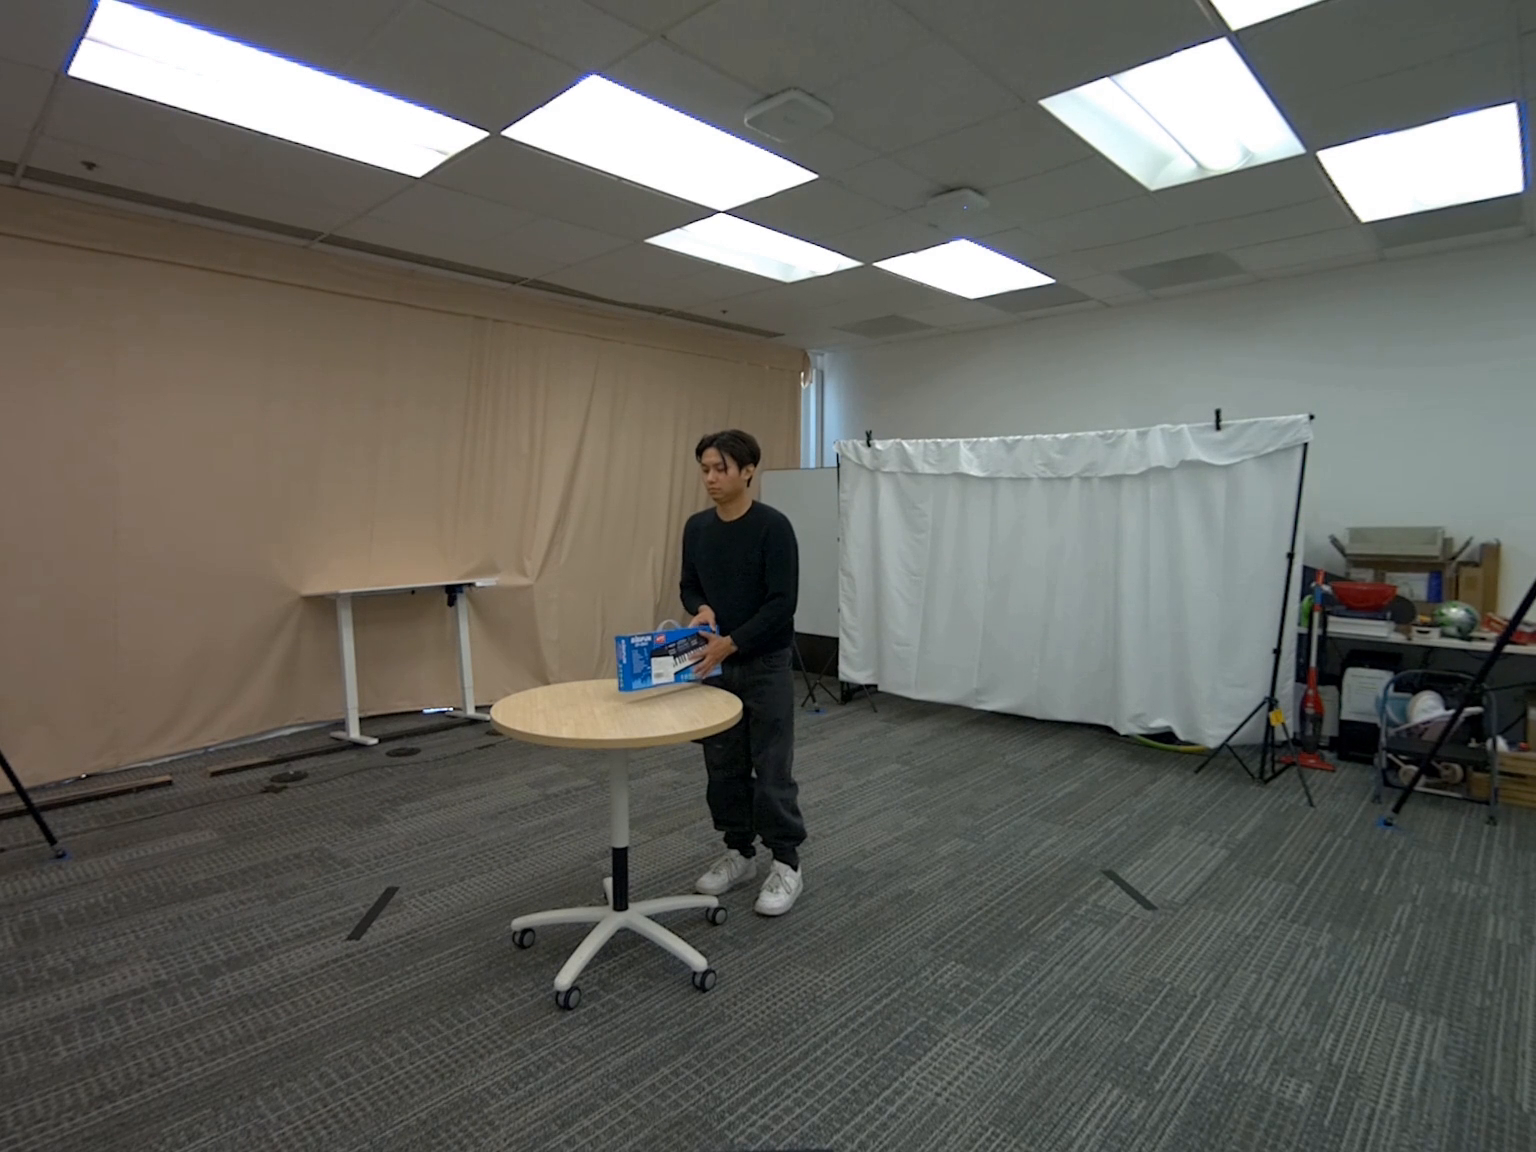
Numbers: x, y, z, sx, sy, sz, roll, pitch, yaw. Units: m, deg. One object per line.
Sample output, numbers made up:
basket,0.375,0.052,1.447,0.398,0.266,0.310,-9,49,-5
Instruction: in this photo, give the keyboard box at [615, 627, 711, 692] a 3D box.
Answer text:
keyboard box,-0.315,0.269,2.751,0.061,0.176,0.423,-5,-2,38
